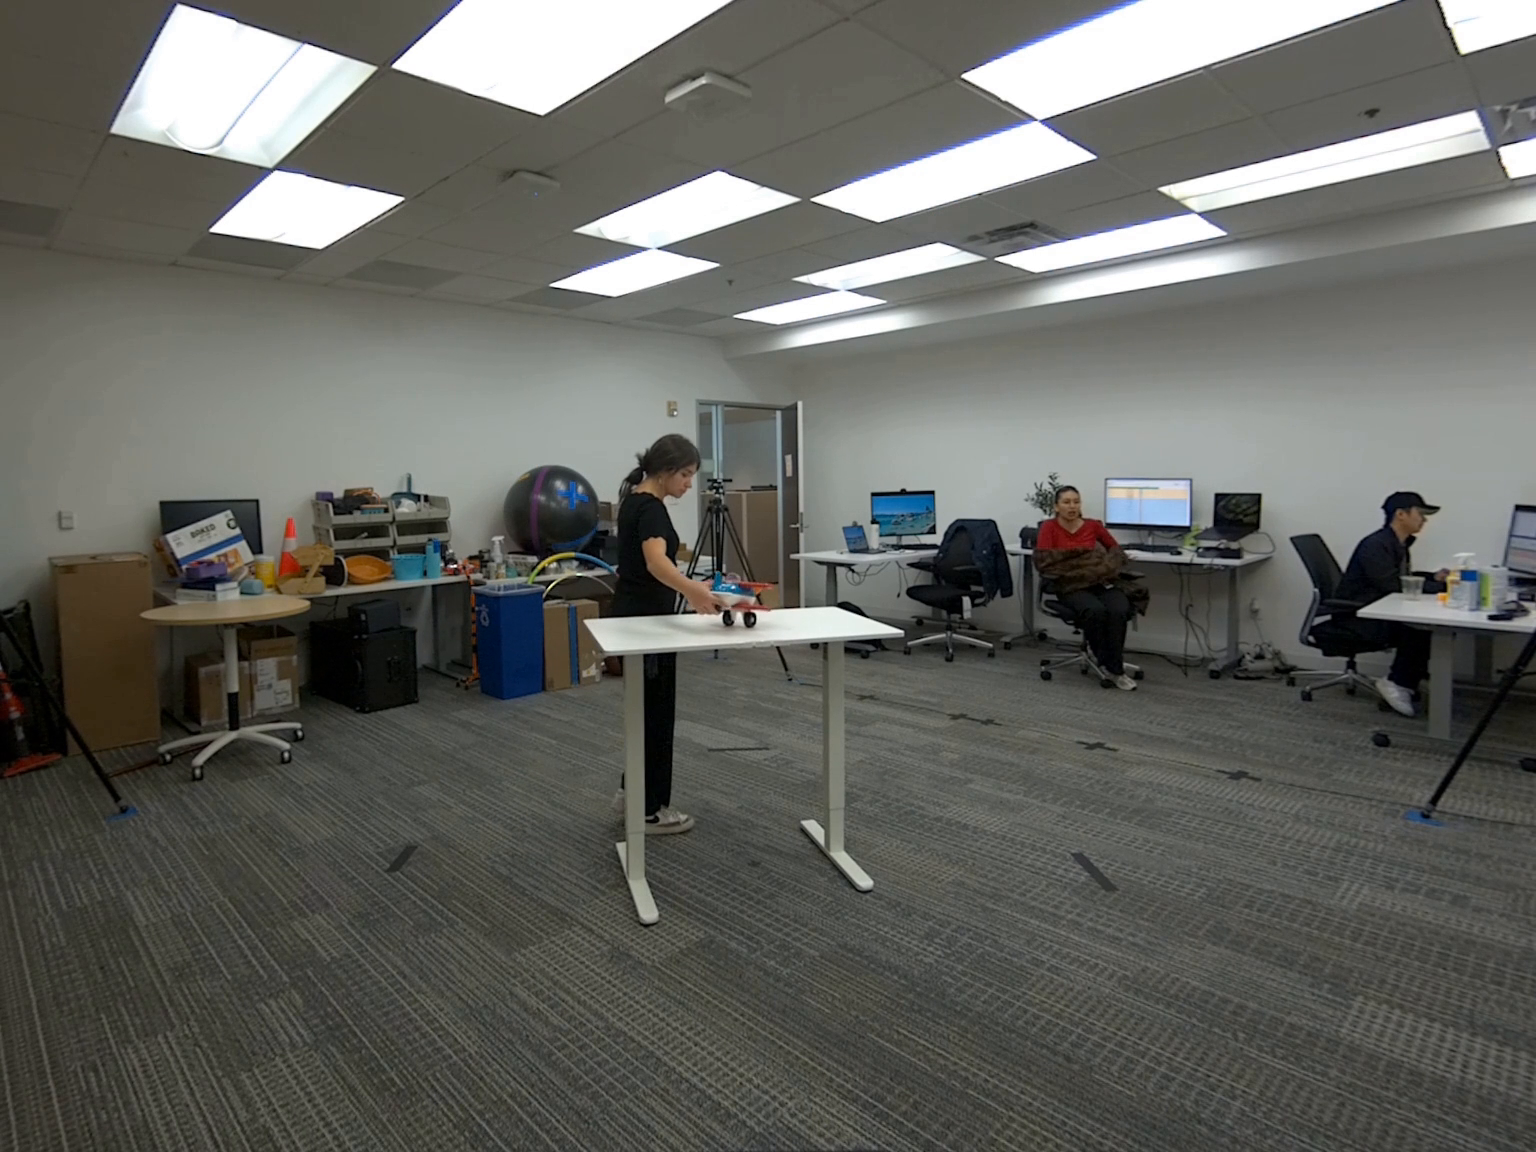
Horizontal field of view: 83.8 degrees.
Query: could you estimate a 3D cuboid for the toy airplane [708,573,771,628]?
[{"bbox_3d":[-0.107,0.077,2.937,0.252,0.158,0.255,11,-18,1],"label":"toy airplane"}]
